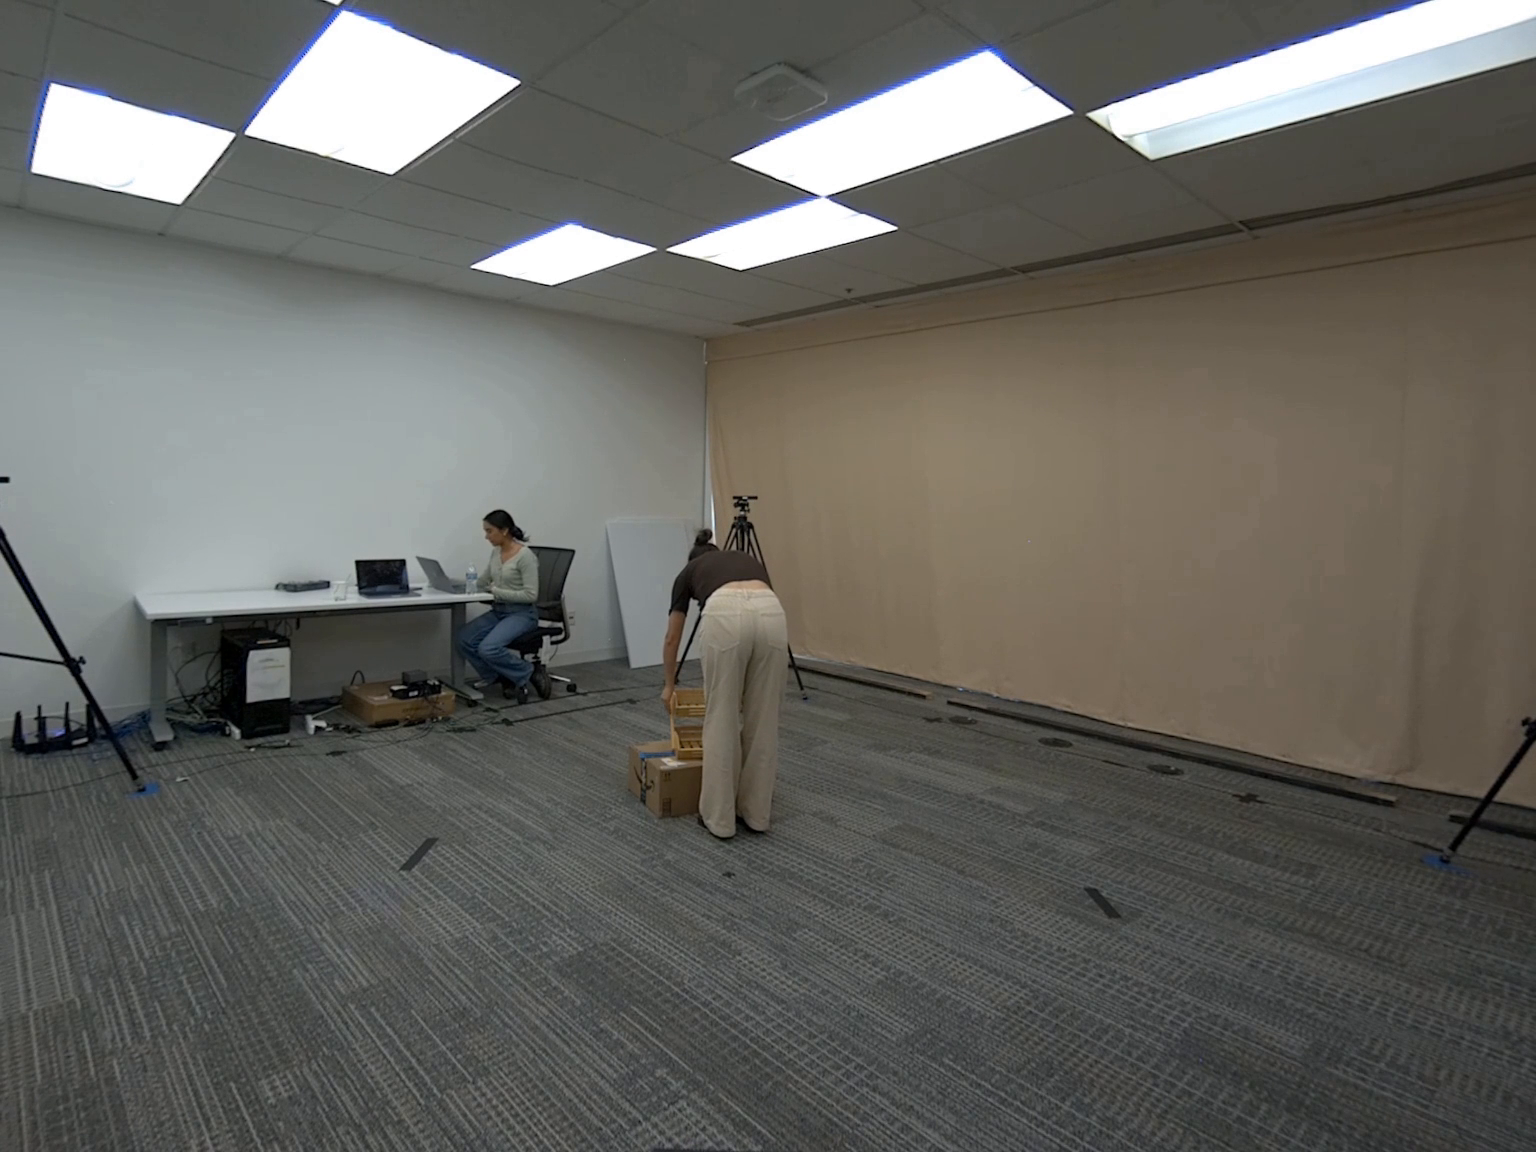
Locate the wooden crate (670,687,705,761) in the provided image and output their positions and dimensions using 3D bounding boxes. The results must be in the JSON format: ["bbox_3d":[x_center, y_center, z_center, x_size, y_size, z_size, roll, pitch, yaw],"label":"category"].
[{"bbox_3d":[-0.295,0.675,3.917,0.321,0.273,0.306,2,3,-13],"label":"wooden crate"}]
